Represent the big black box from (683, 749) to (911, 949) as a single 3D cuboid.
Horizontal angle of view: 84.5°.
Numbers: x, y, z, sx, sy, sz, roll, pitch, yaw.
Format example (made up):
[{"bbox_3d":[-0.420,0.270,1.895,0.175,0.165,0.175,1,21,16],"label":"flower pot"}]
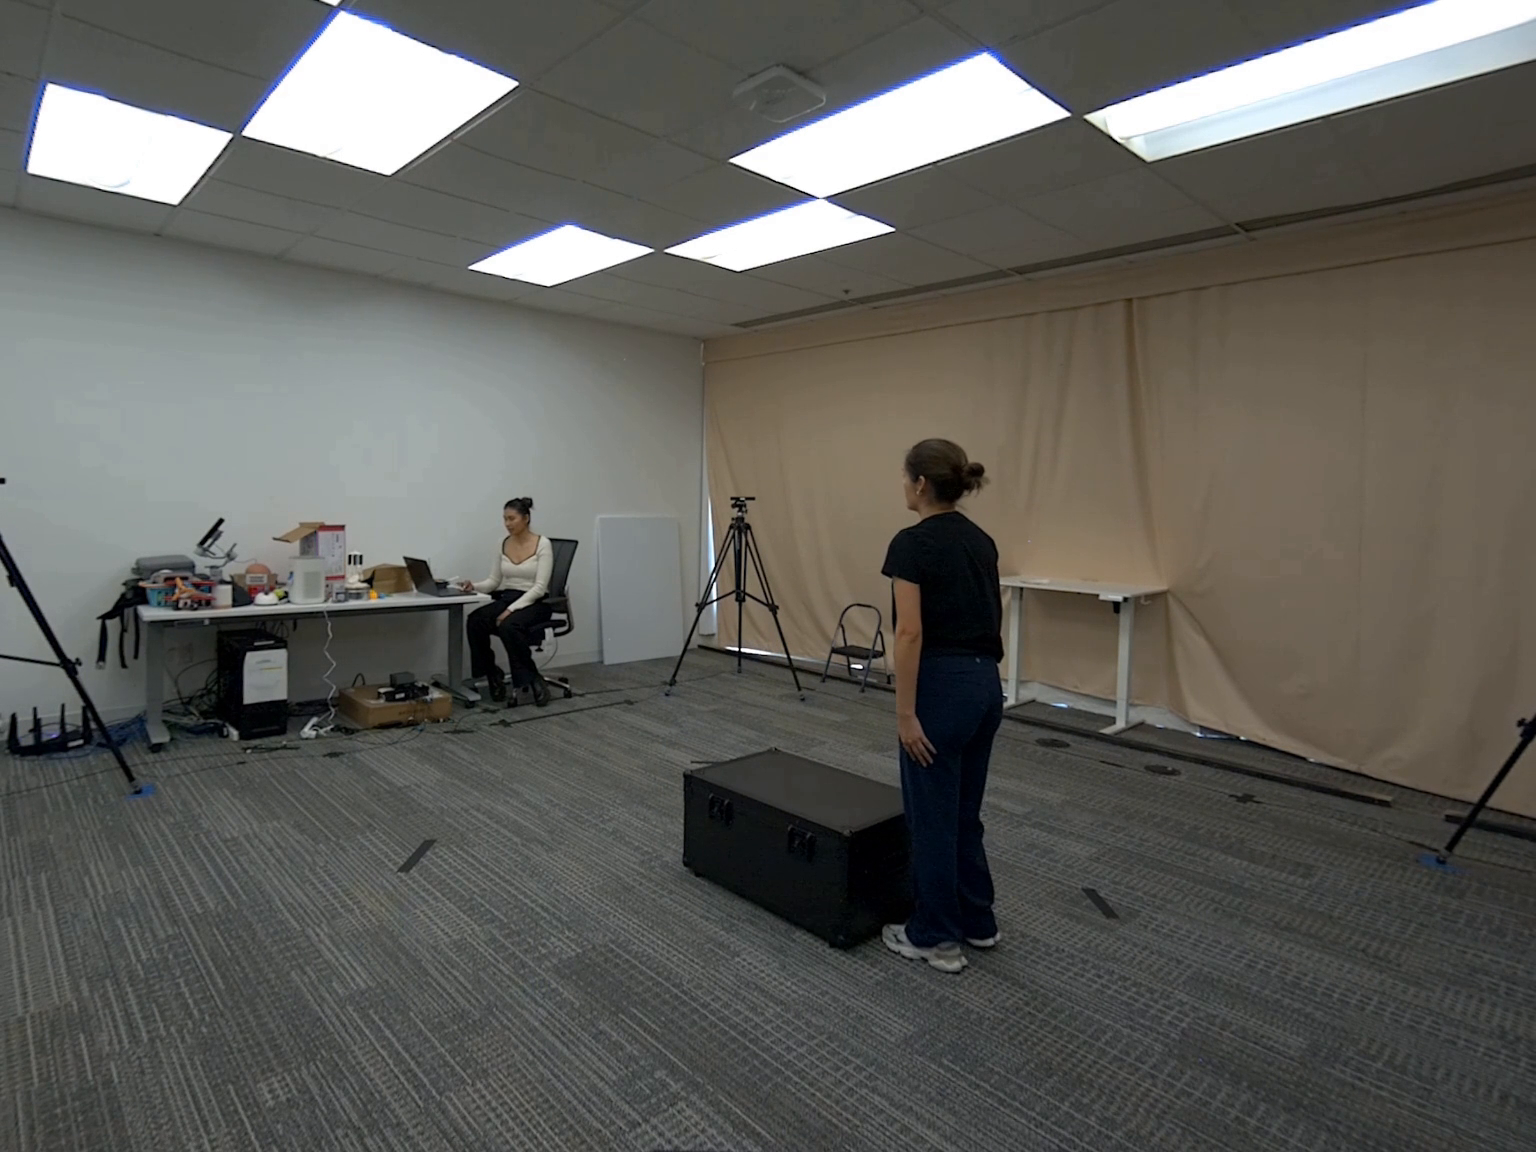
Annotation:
[{"bbox_3d":[0.099,0.914,3.018,0.509,0.395,0.883,-4,6,-45],"label":"big black box"}]
